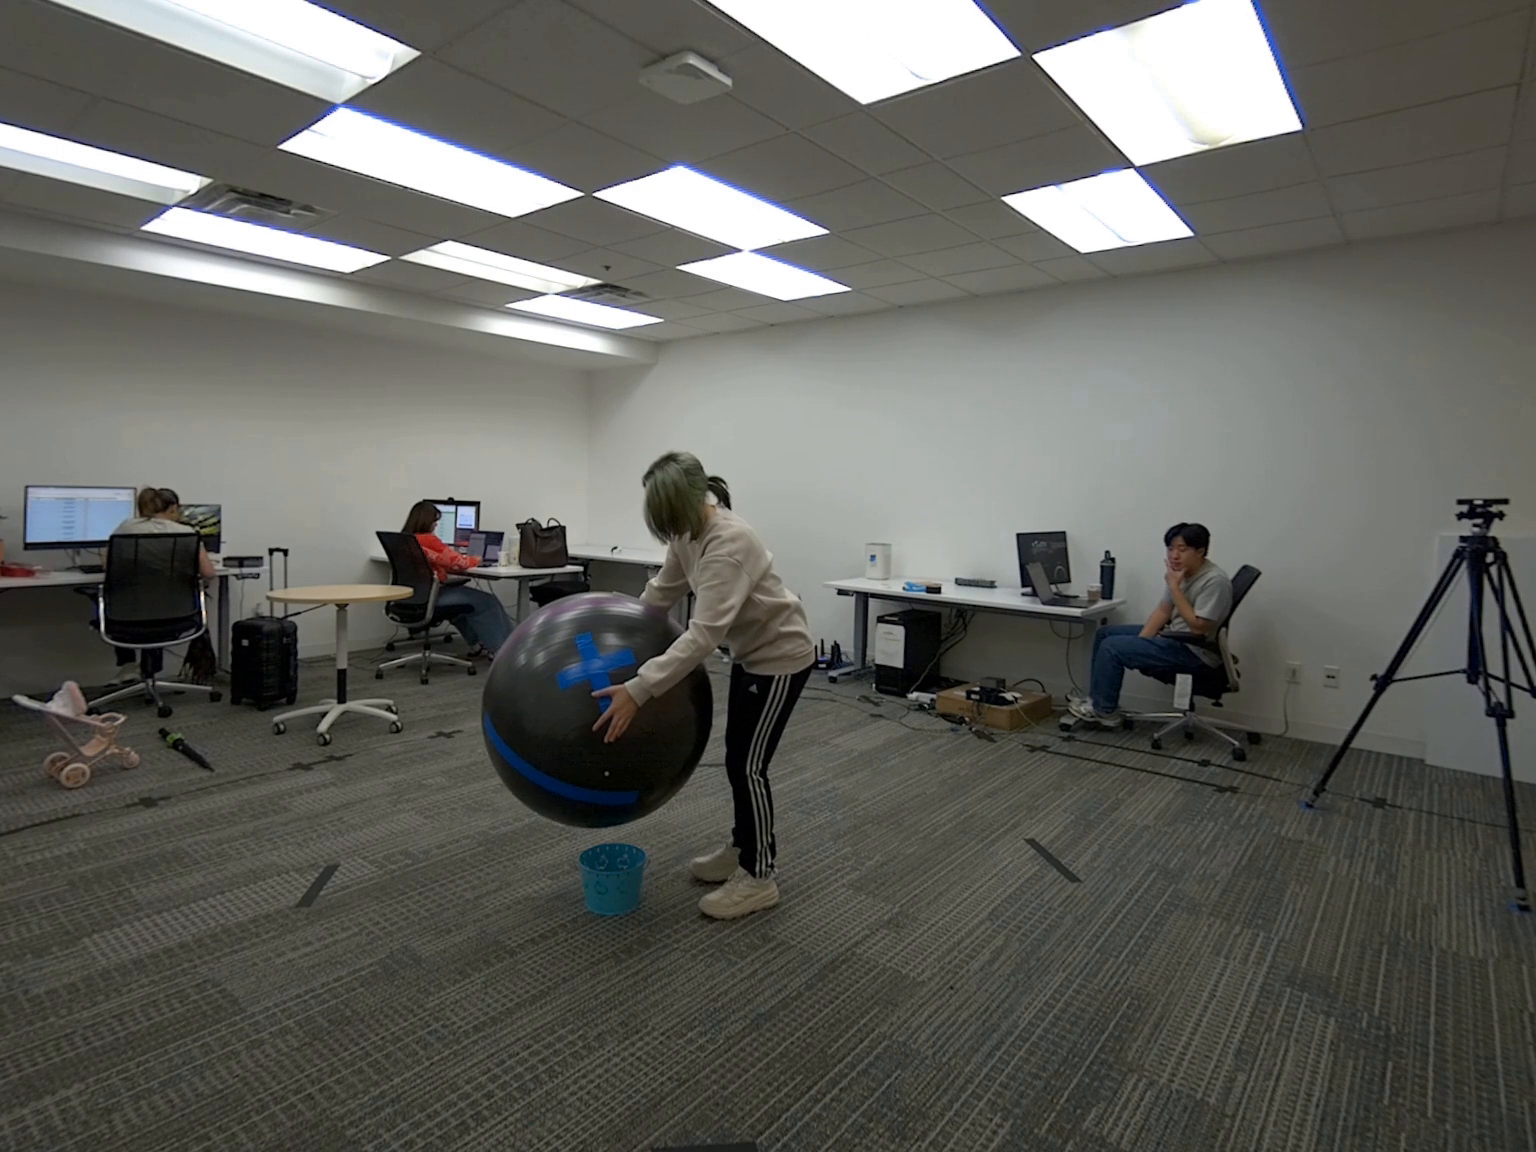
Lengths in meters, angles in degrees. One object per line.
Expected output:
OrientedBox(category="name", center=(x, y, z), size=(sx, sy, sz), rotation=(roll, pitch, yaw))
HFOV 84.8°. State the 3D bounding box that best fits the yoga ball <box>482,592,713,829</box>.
OrientedBox(category="yoga ball", center=(-0.578, 0.440, 2.815), size=(0.757, 0.756, 0.761), rotation=(1, 4, -2))
